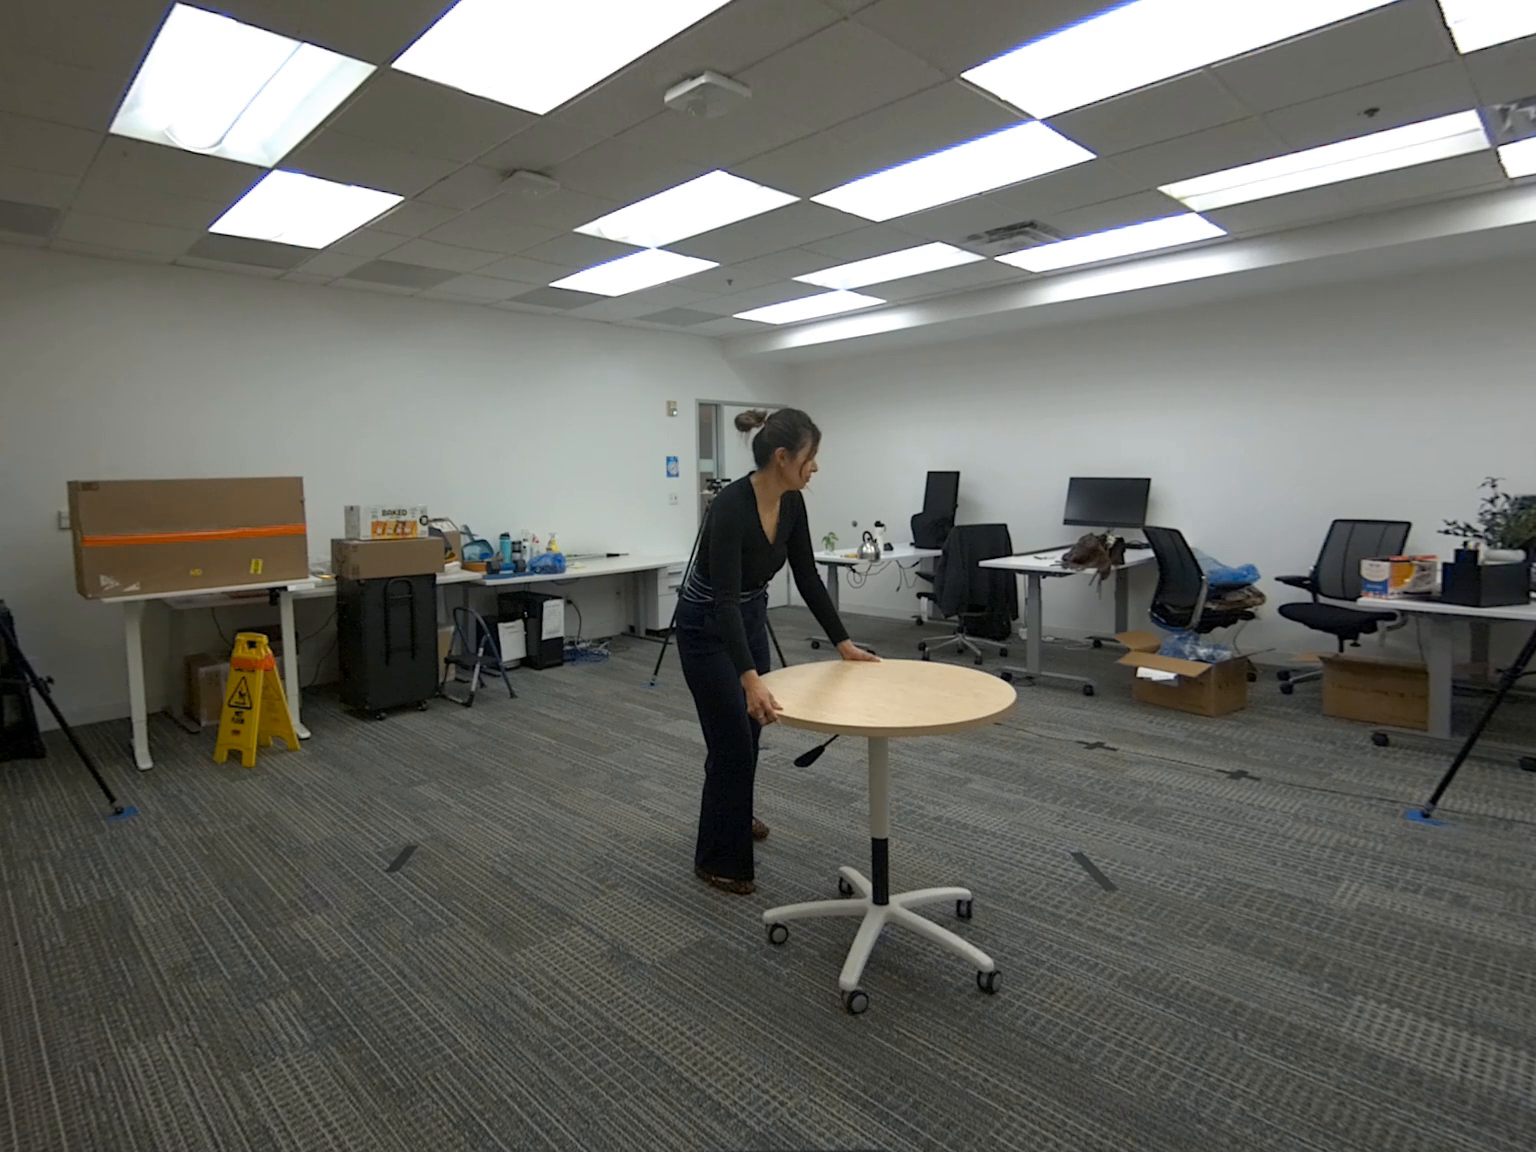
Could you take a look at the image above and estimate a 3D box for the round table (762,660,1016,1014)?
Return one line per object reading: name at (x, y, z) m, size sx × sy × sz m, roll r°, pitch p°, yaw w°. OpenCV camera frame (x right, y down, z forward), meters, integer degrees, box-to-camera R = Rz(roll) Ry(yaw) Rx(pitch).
round table at (0.334, 0.716, 2.519) m, size 0.763 × 0.790 × 0.768 m, roll -2°, pitch 6°, yaw -2°
